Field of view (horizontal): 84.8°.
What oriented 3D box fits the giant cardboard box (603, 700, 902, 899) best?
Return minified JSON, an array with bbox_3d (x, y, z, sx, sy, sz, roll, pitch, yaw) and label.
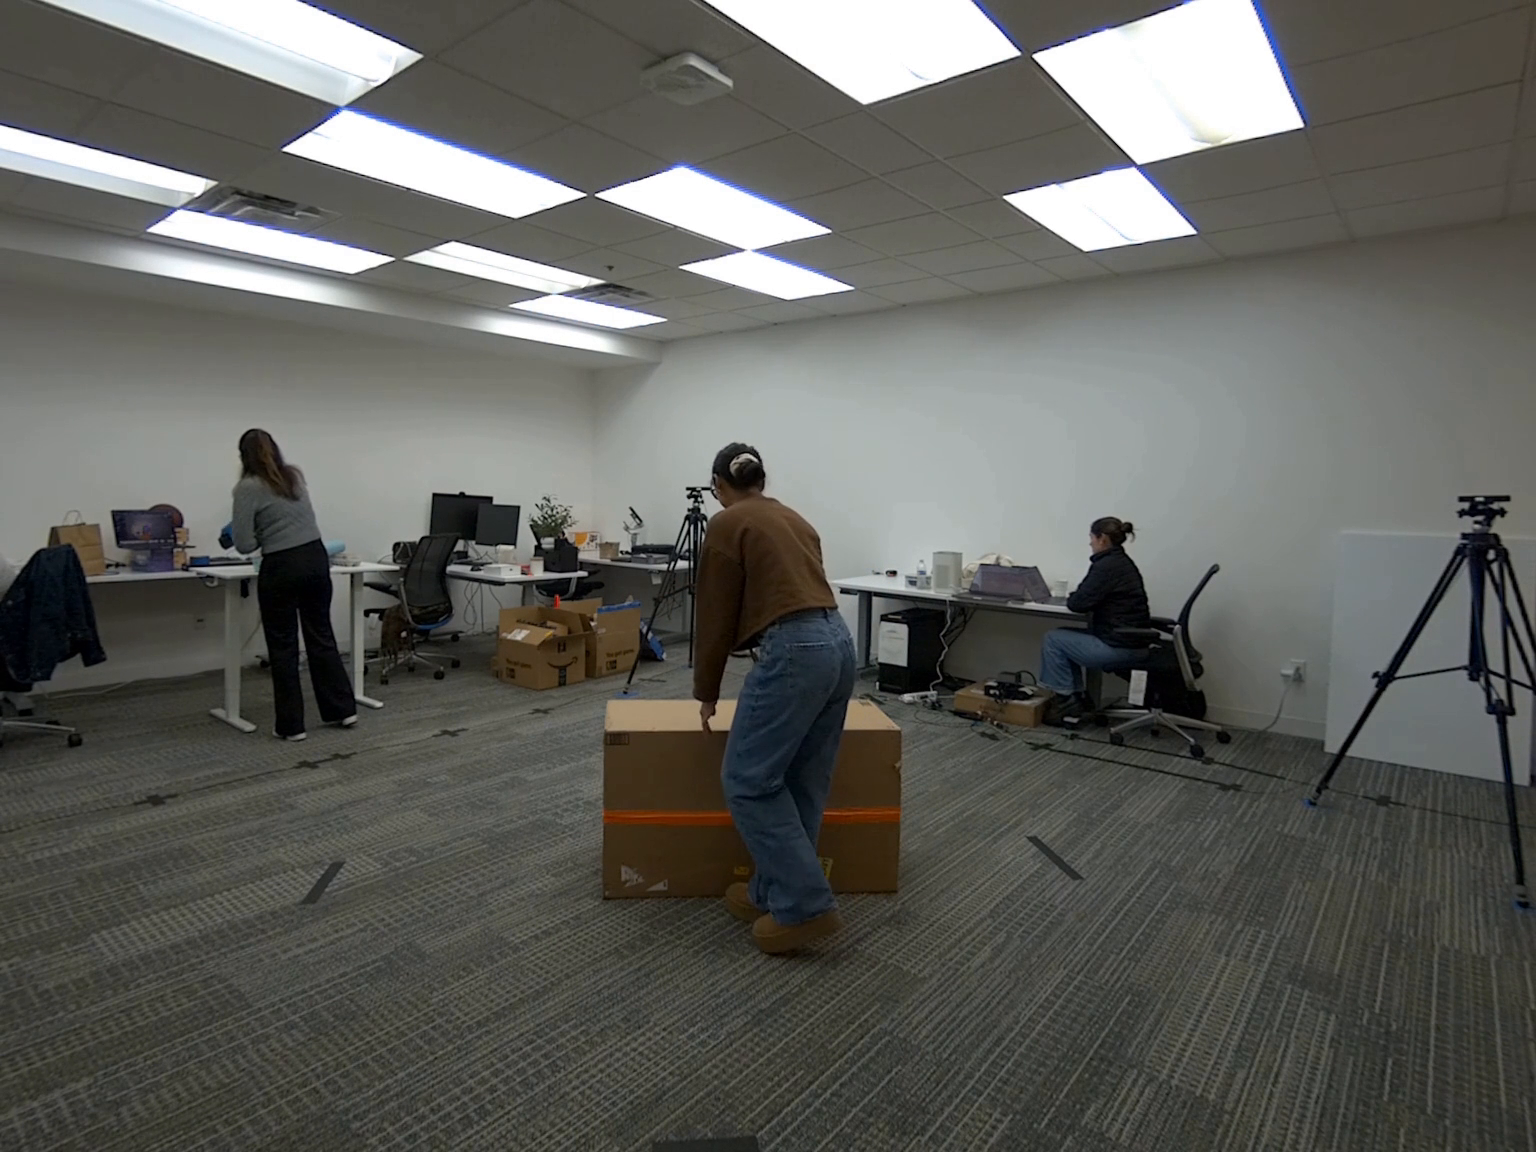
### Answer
[{"bbox_3d":[-0.086,0.785,3.094,1.021,0.583,0.450,0,3,-6],"label":"giant cardboard box"}]
